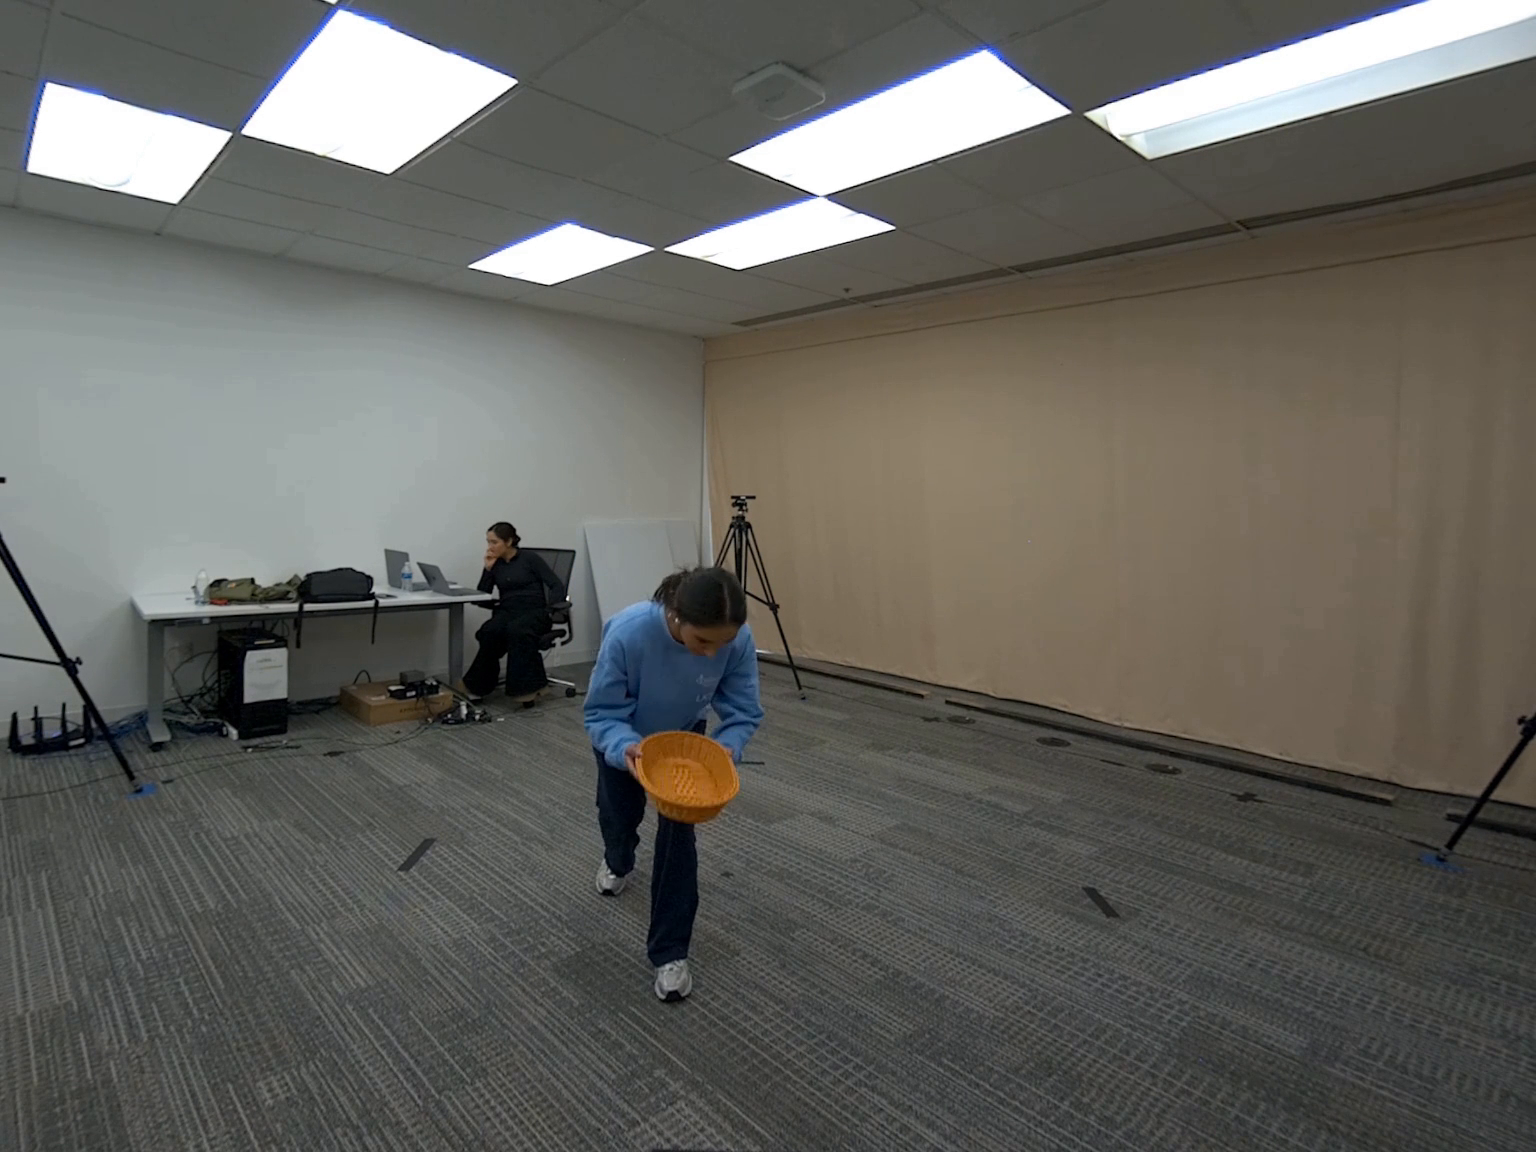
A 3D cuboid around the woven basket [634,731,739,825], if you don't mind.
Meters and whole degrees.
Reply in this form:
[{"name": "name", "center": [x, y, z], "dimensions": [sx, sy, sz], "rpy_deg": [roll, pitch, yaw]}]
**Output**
[{"name": "woven basket", "center": [-0.225, 0.506, 2.063], "dimensions": [0.251, 0.073, 0.356], "rpy_deg": [8, 16, -8]}]
